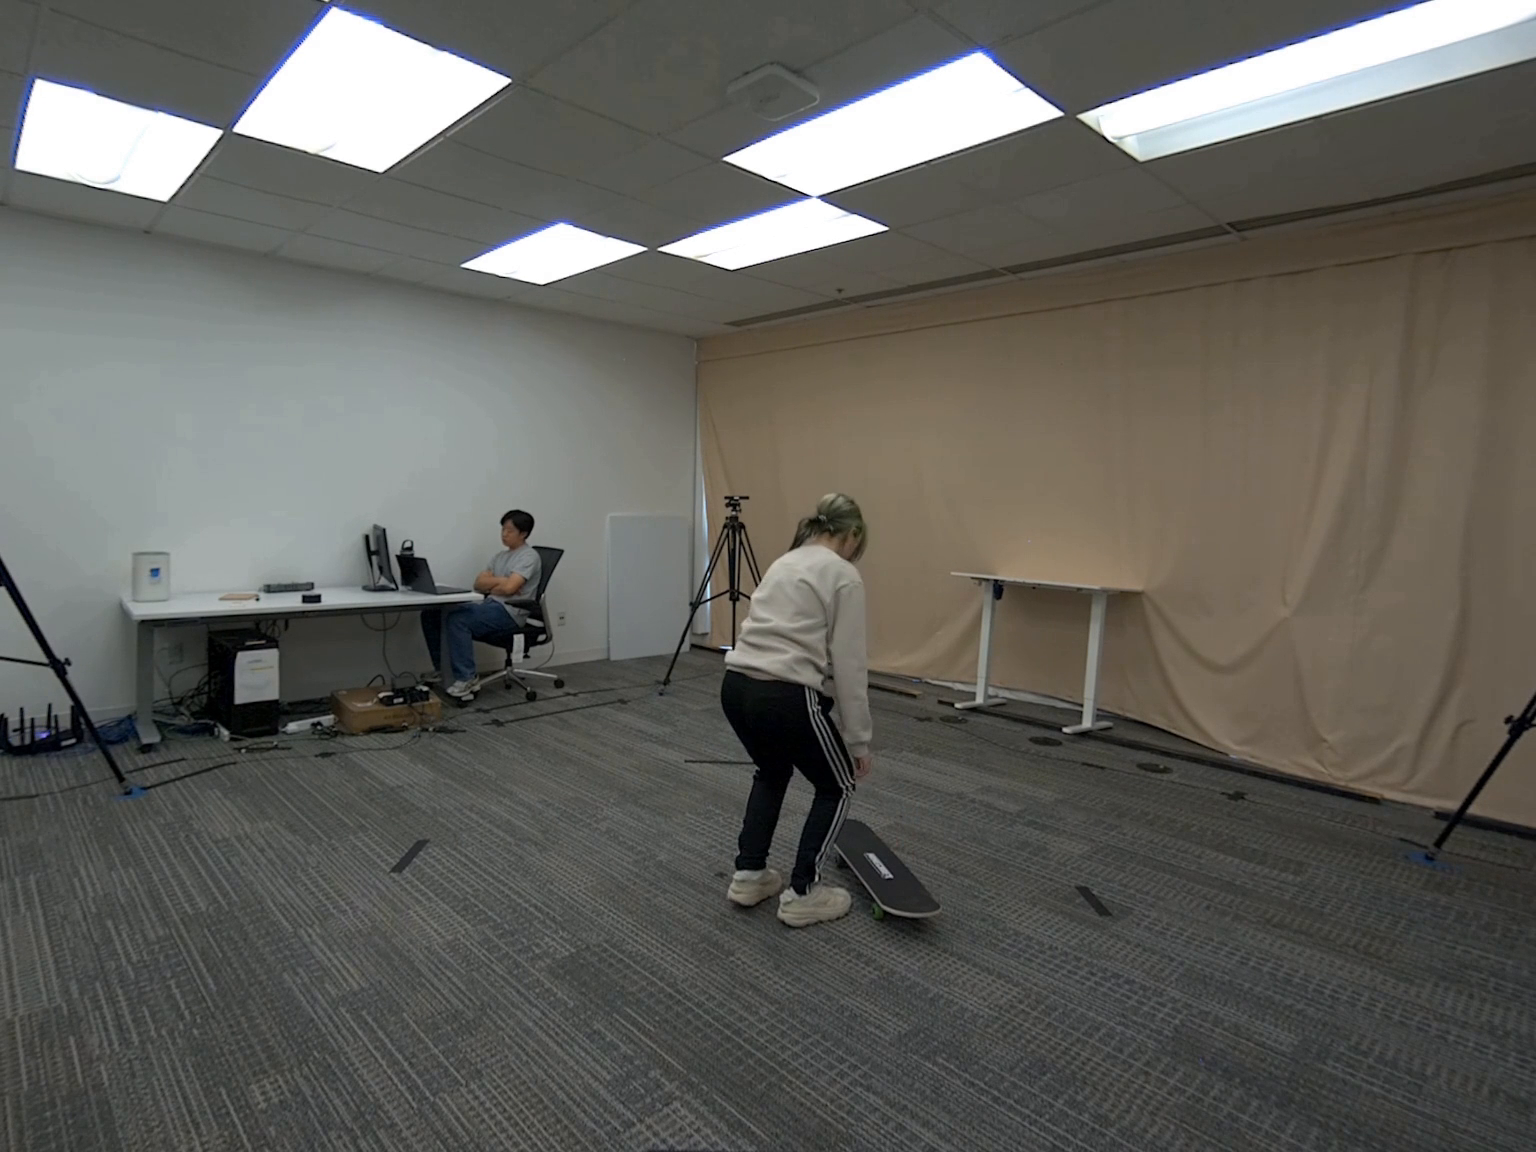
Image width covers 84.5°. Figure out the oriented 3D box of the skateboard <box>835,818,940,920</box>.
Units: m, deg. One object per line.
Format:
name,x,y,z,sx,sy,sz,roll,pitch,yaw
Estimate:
skateboard,0.389,1.066,3.020,0.191,0.110,0.795,1,5,-13
